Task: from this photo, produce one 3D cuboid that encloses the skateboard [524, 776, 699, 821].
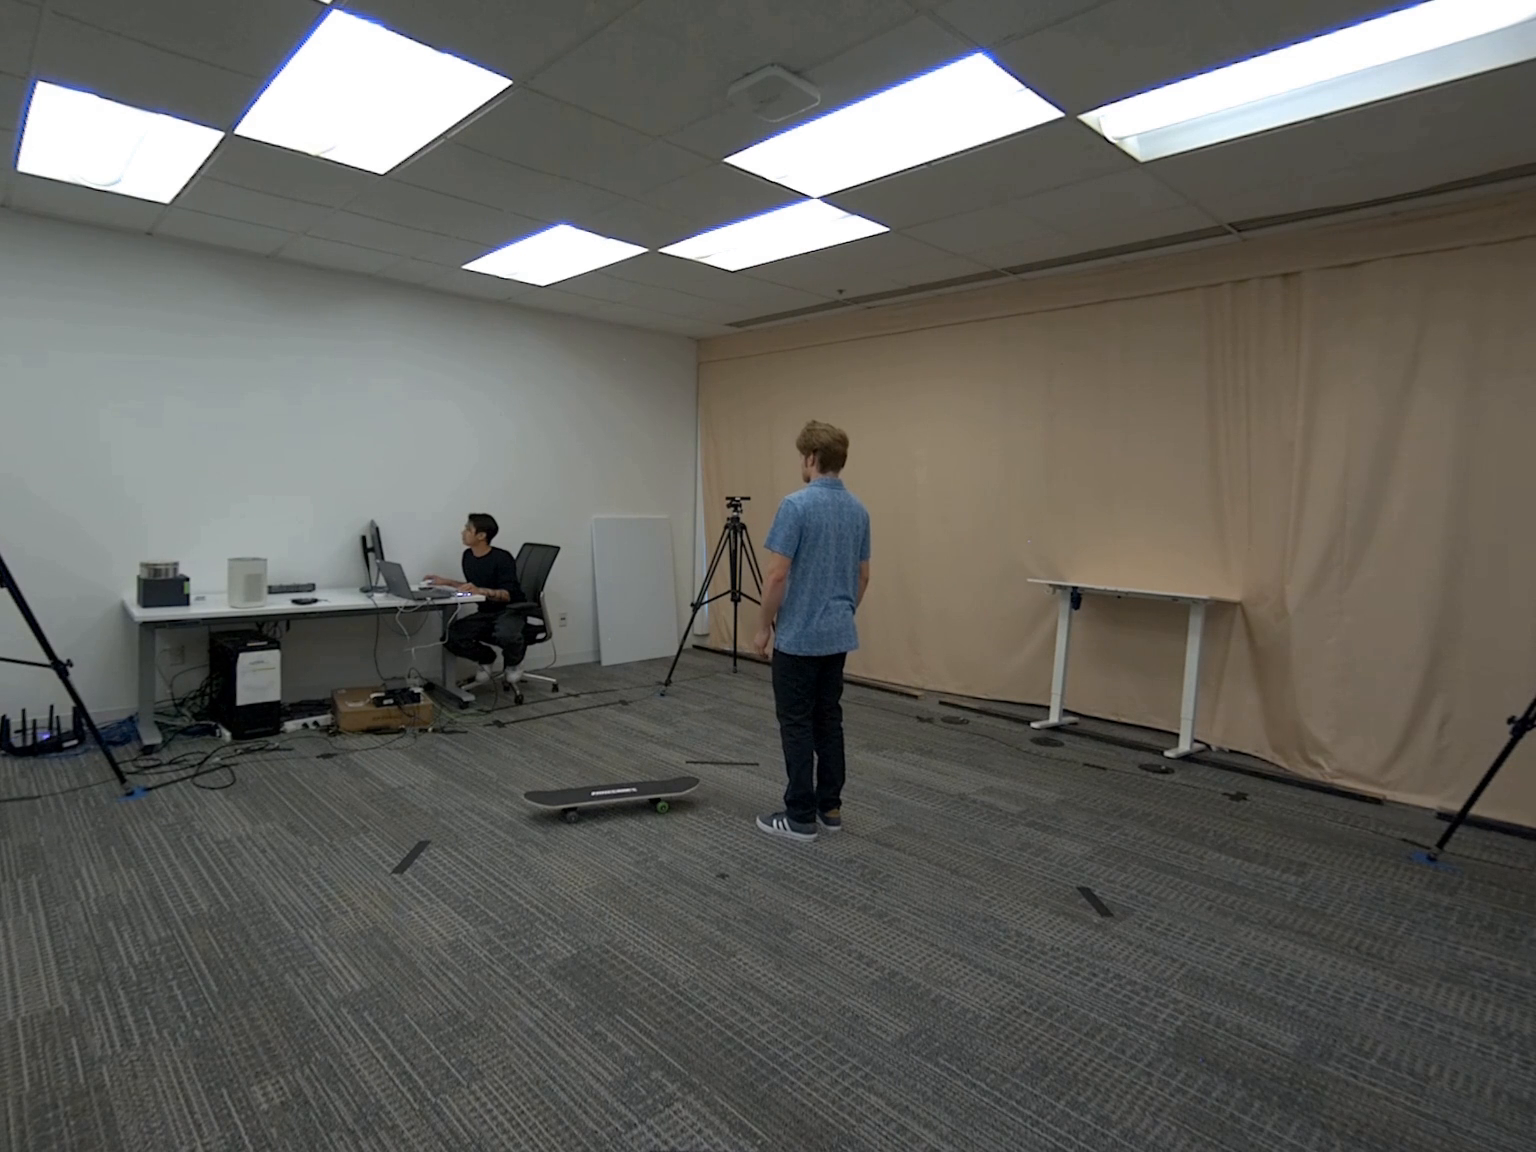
[{"bbox_3d":[-0.683,0.980,3.714,0.773,0.110,0.197,-1,5,-21],"label":"skateboard"}]
